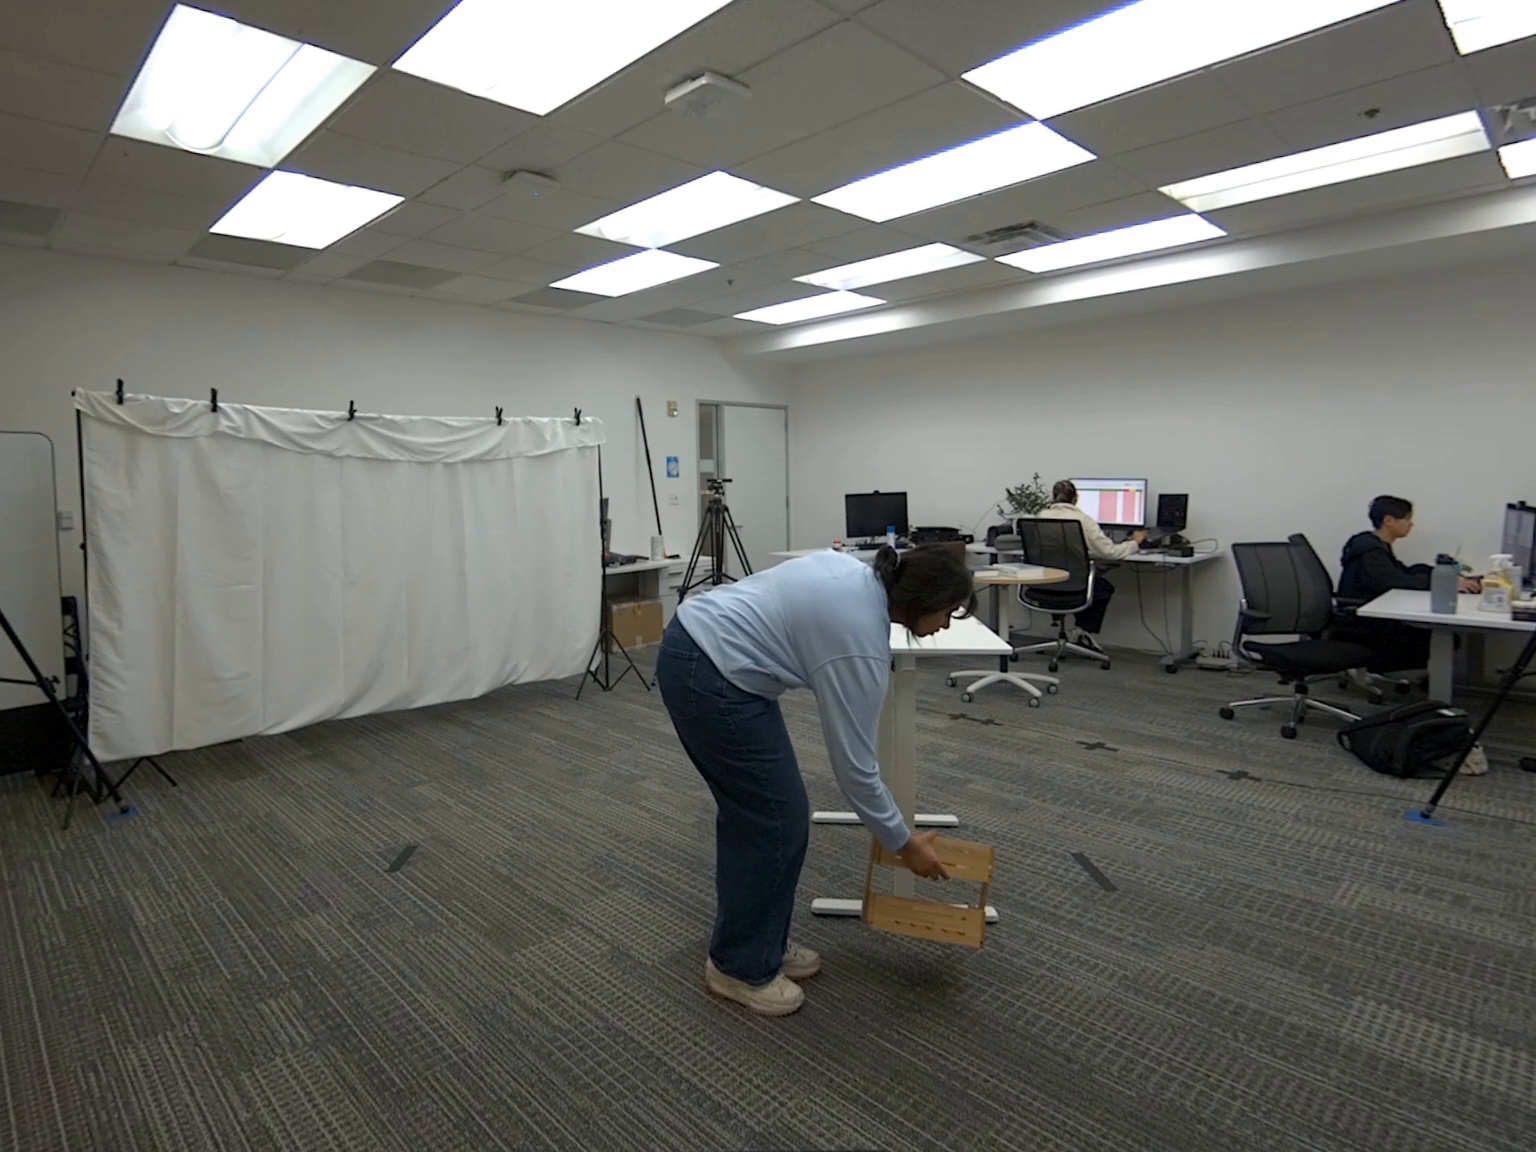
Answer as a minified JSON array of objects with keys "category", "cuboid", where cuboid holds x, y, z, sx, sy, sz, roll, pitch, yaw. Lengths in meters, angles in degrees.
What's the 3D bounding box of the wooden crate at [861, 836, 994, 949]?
[{"category":"wooden crate","cuboid":[0.445,0.846,2.401,0.328,0.276,0.296,6,-13,9]}]
